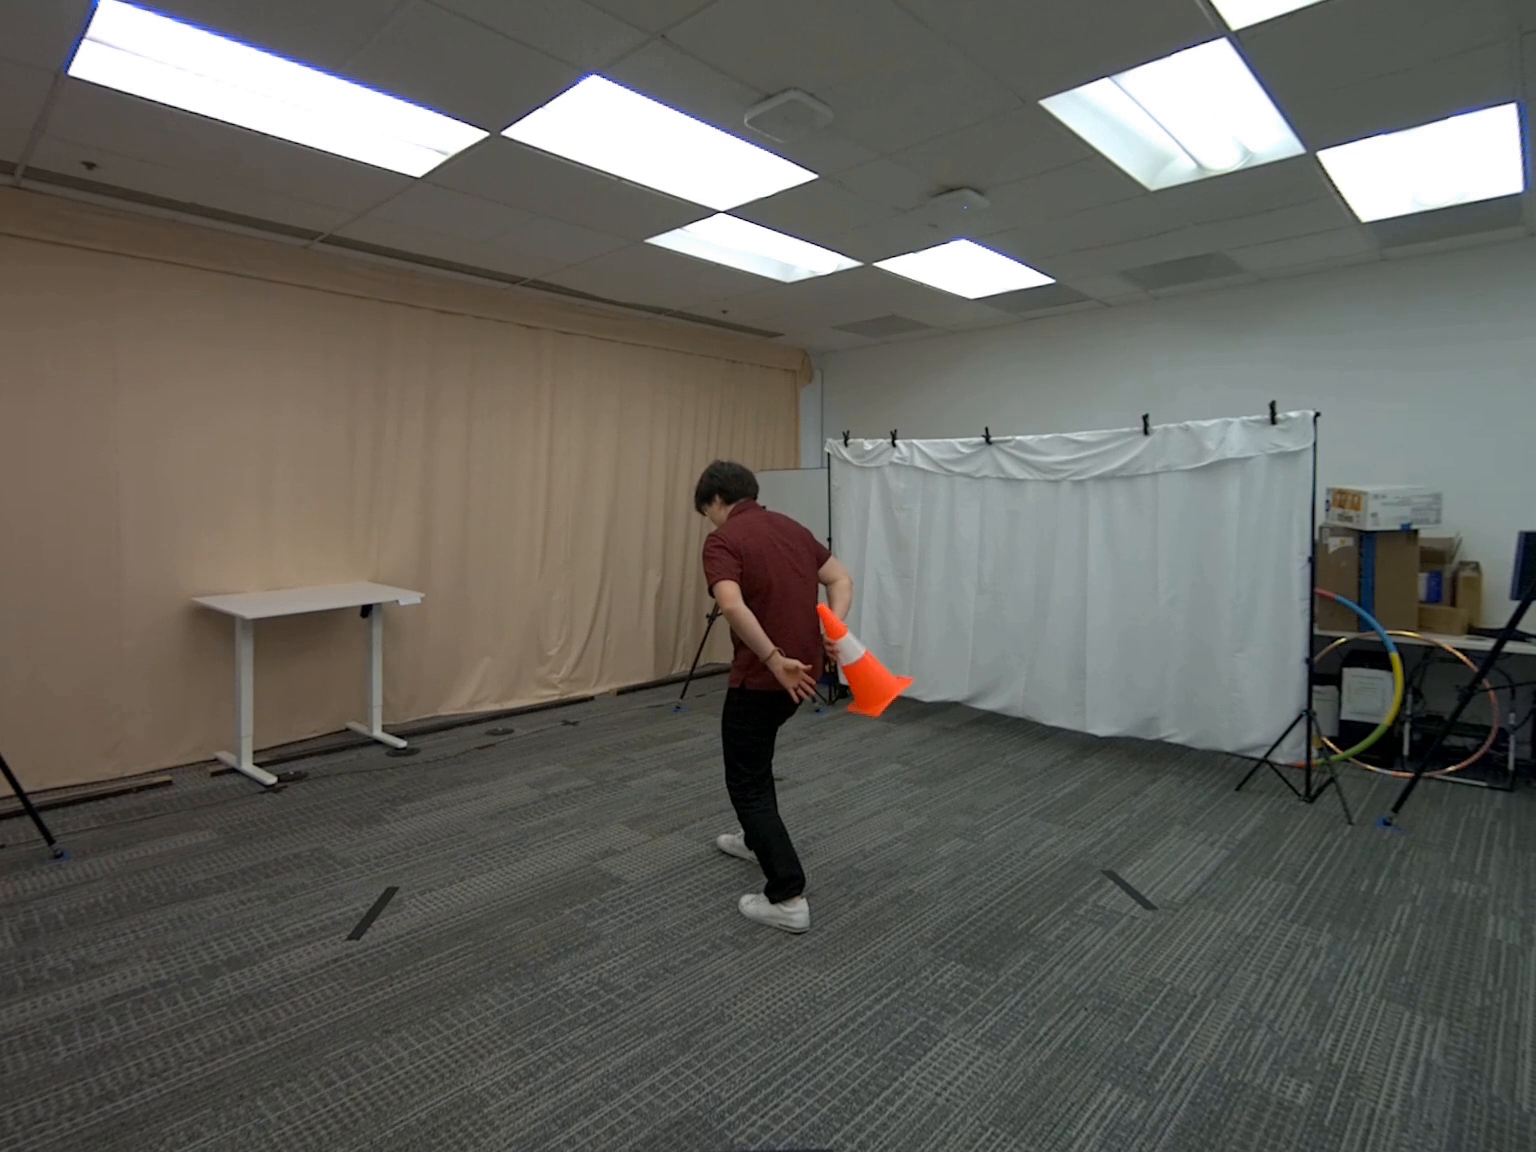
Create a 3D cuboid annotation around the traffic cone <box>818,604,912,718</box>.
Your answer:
[{"bbox_3d":[0.274,0.255,2.847,0.201,0.379,0.209,-39,11,-24],"label":"traffic cone"}]
